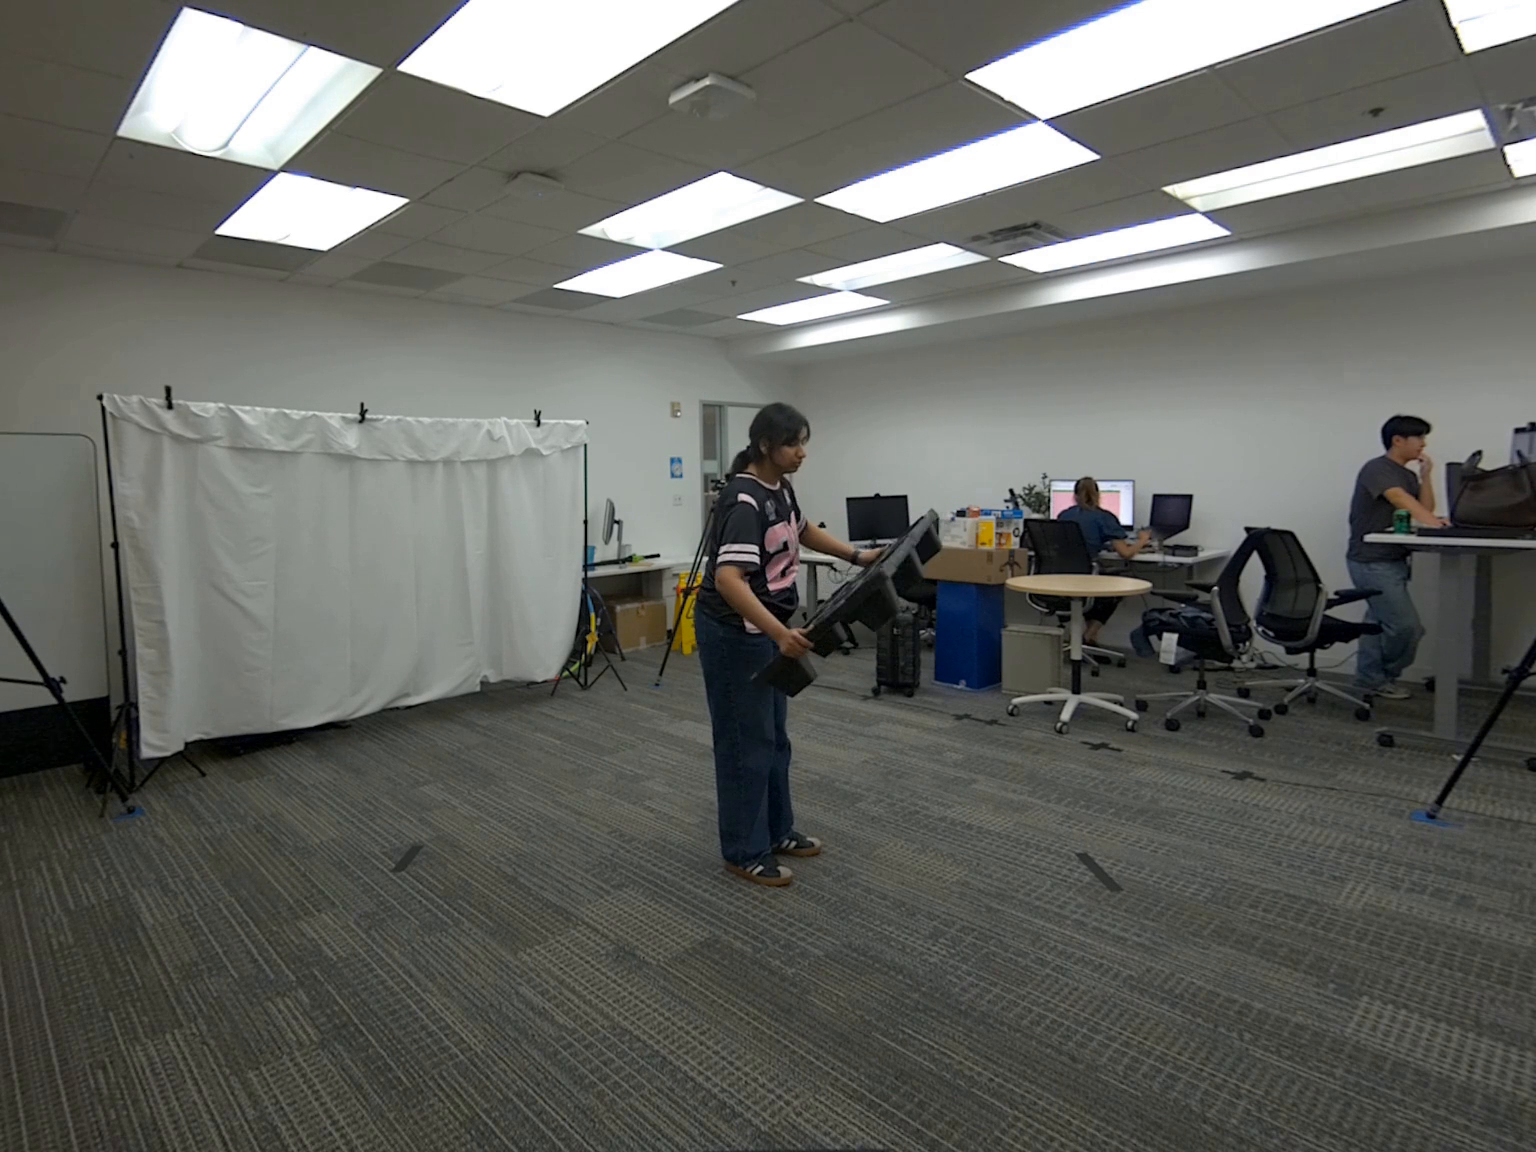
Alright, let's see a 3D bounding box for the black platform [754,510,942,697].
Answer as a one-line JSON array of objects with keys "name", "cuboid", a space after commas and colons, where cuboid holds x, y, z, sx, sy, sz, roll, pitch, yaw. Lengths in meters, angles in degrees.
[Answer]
[{"name": "black platform", "cuboid": [0.314, 0.090, 2.919, 0.606, 0.144, 0.800, -43, -2, 27]}]
